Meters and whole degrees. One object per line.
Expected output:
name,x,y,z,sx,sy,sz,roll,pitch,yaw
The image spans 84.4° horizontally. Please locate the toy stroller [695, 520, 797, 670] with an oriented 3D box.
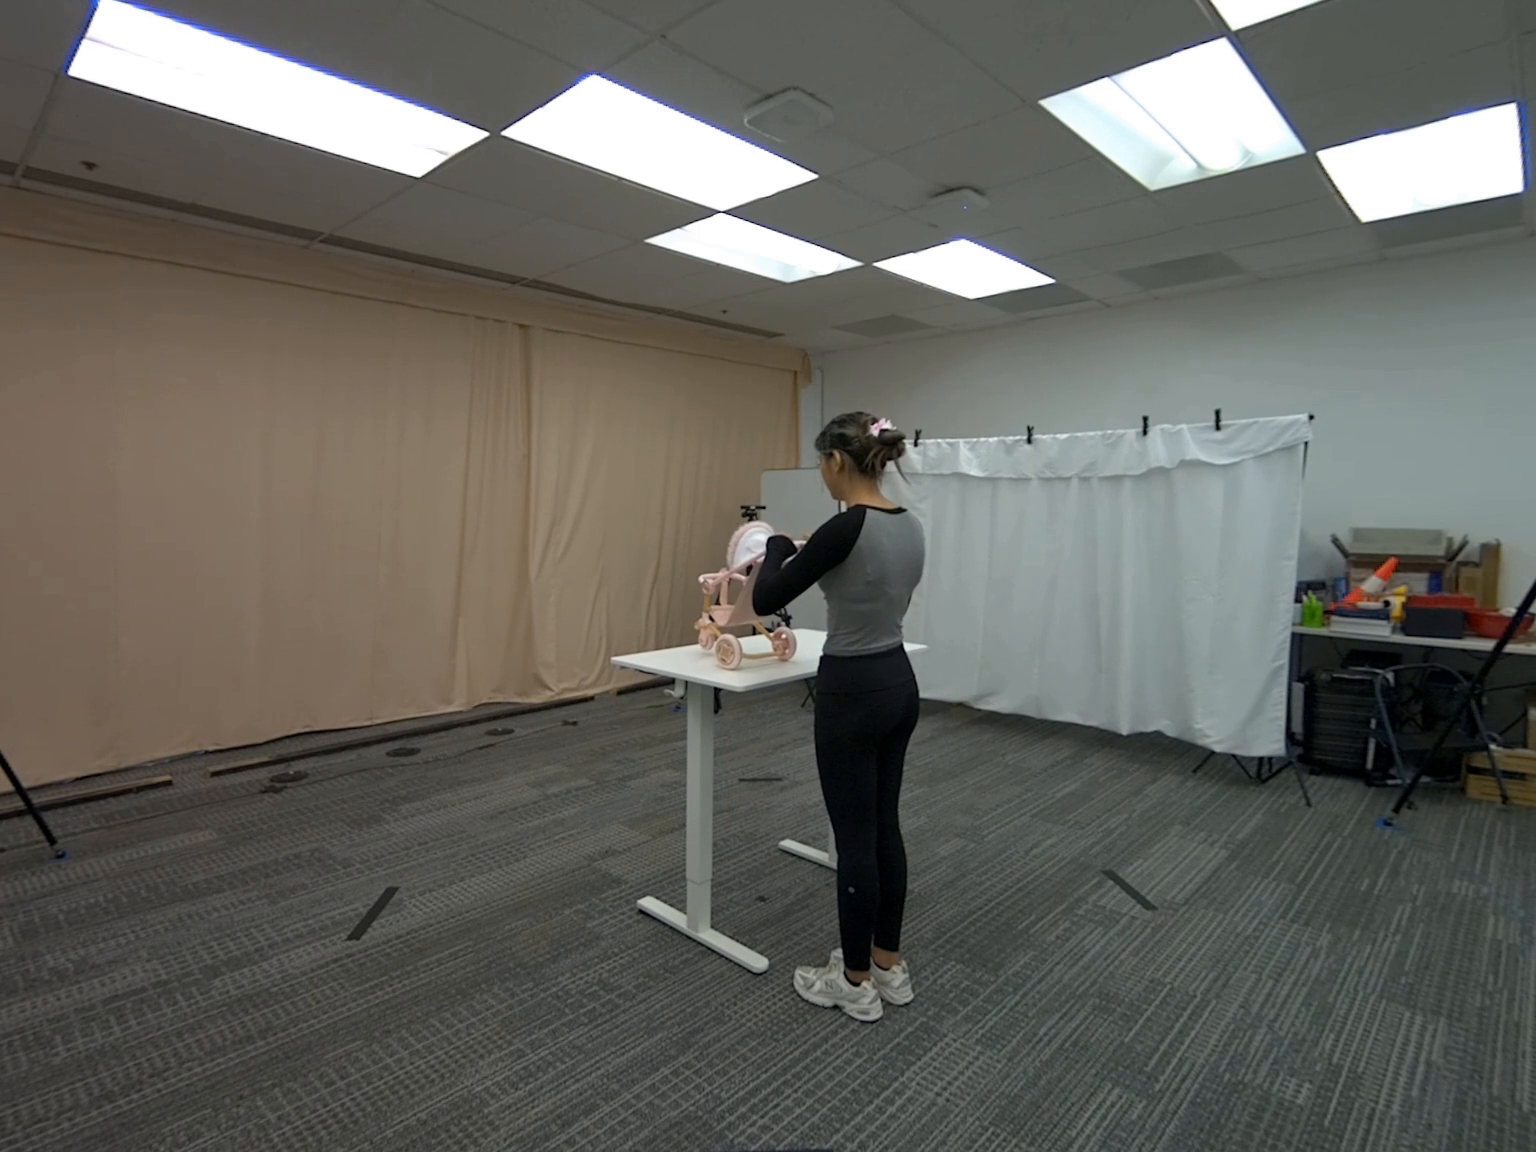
toy stroller,-0.064,0.058,2.717,0.273,0.531,0.354,-2,23,-39
